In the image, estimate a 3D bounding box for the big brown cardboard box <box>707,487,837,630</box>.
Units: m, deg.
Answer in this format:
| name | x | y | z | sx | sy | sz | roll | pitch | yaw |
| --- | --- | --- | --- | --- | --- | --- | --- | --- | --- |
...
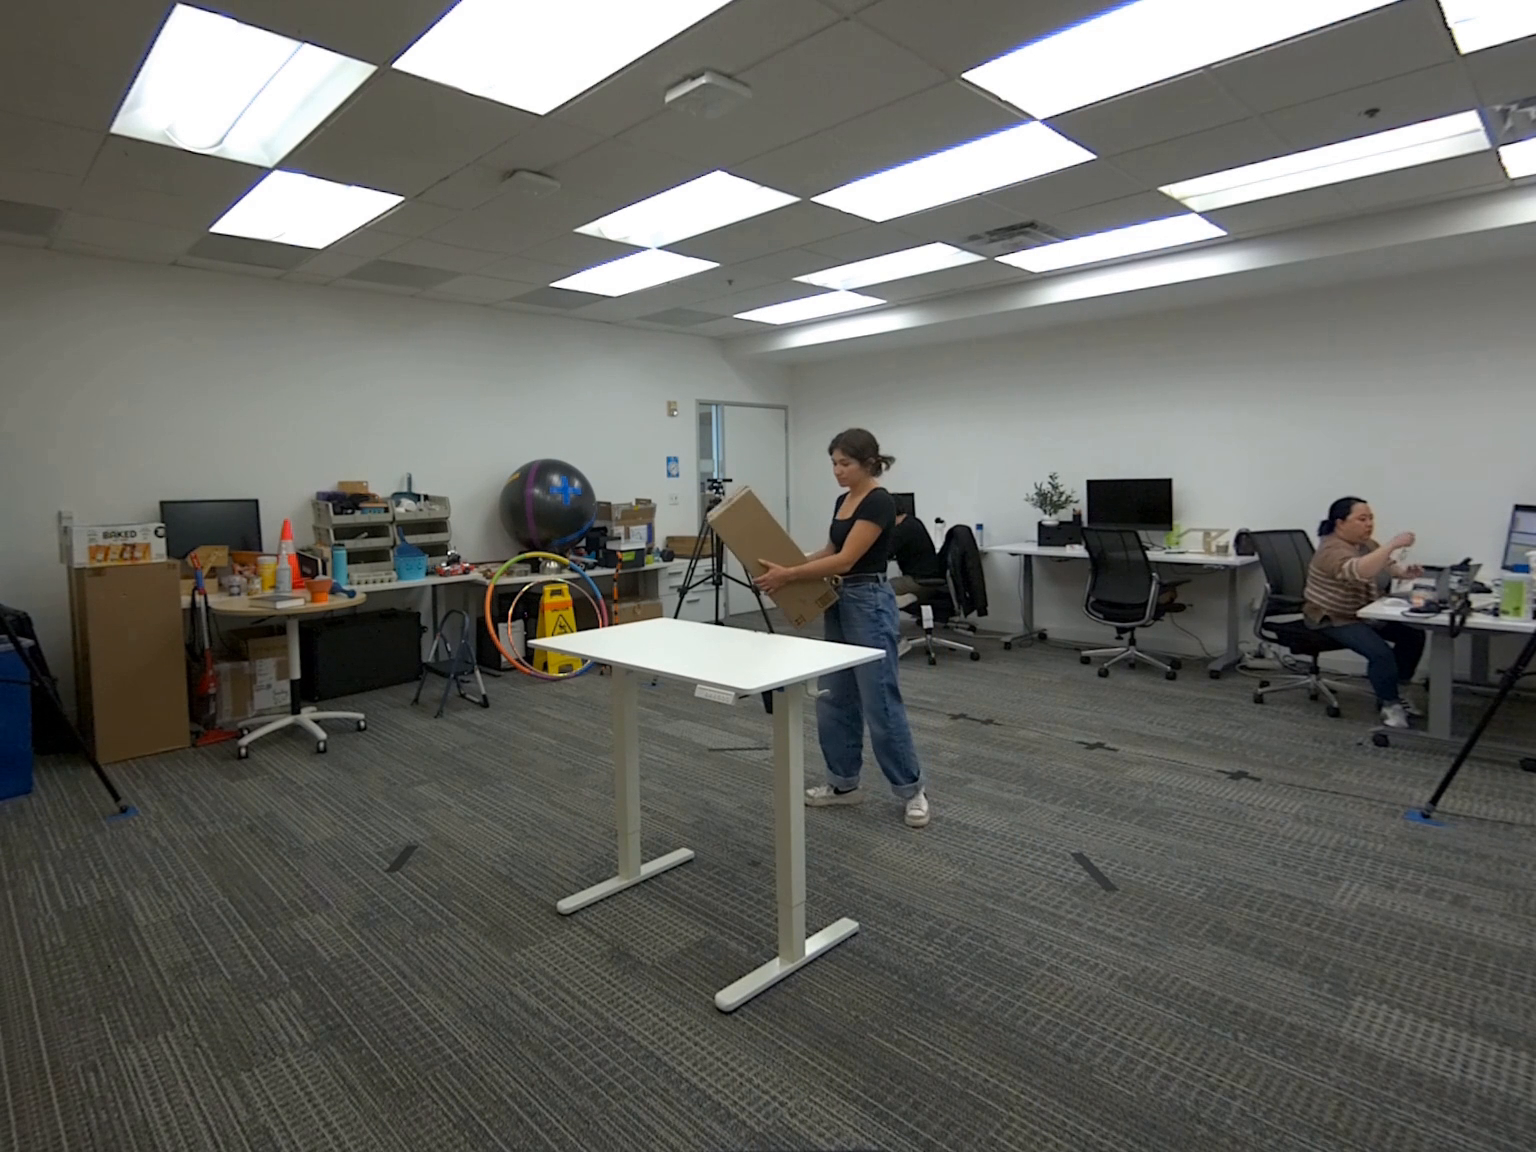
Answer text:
| name | x | y | z | sx | sy | sz | roll | pitch | yaw |
| --- | --- | --- | --- | --- | --- | --- | --- | --- | --- |
| big brown cardboard box | 0.001 | -0.092 | 3.588 | 0.233 | 0.585 | 0.420 | -40 | 6 | 2 |
